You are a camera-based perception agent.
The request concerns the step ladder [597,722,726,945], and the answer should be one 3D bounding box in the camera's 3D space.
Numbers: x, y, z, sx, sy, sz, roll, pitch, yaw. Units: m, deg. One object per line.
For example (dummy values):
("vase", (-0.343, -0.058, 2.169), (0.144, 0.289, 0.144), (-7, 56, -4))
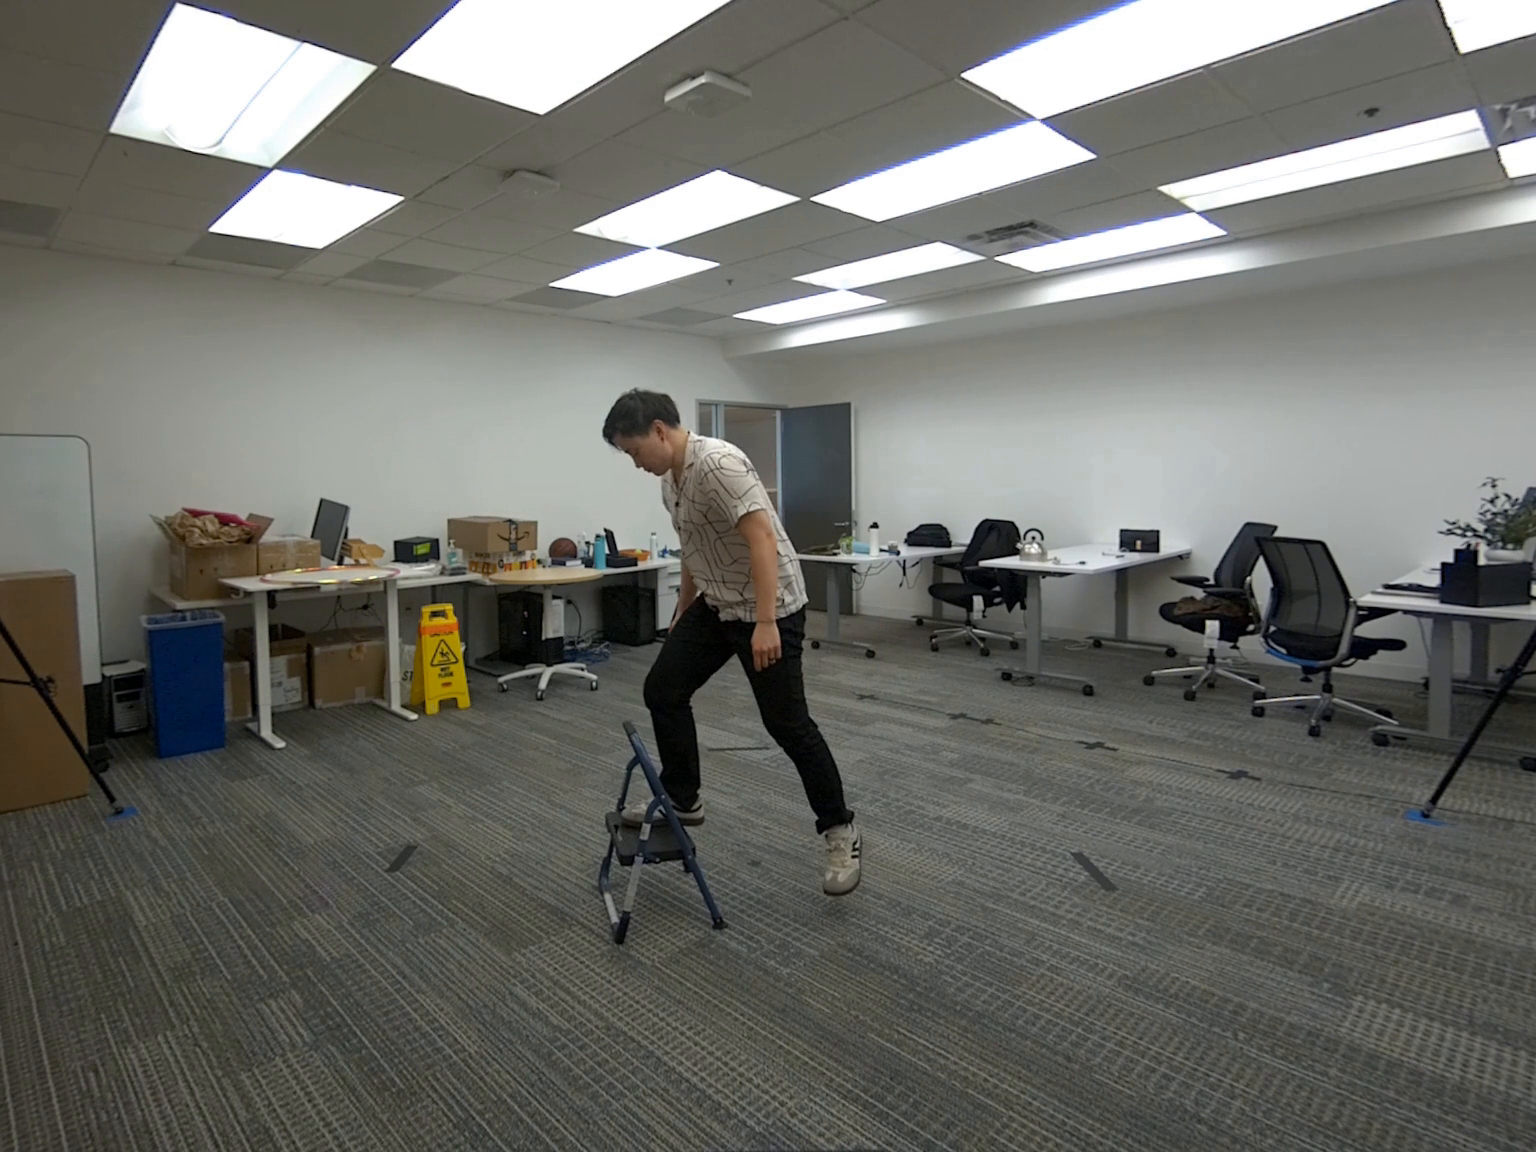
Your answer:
("step ladder", (-0.364, 0.785, 2.798), (0.344, 0.604, 0.439), (-3, 5, -18))
